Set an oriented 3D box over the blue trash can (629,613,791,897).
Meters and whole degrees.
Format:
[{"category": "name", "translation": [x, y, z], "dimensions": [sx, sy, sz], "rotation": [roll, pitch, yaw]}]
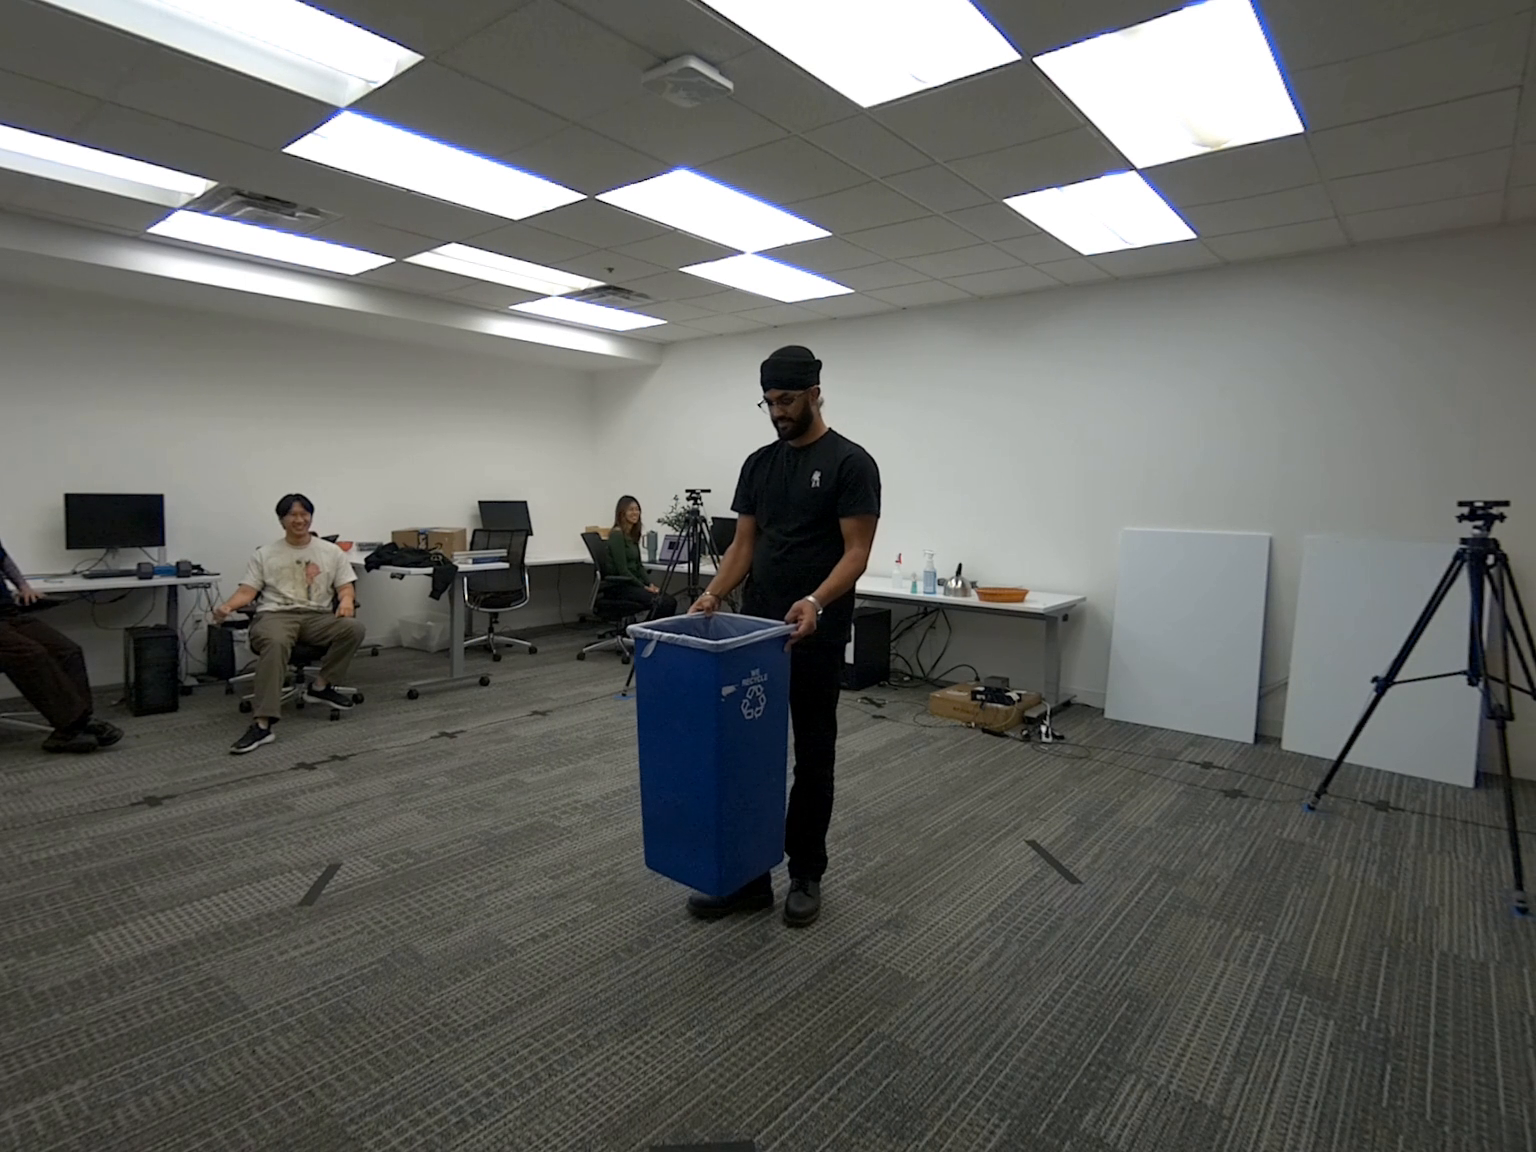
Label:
[{"category": "blue trash can", "translation": [-0.170, 0.499, 2.487], "dimensions": [0.391, 0.710, 0.364], "rotation": [4, 7, 39]}]
